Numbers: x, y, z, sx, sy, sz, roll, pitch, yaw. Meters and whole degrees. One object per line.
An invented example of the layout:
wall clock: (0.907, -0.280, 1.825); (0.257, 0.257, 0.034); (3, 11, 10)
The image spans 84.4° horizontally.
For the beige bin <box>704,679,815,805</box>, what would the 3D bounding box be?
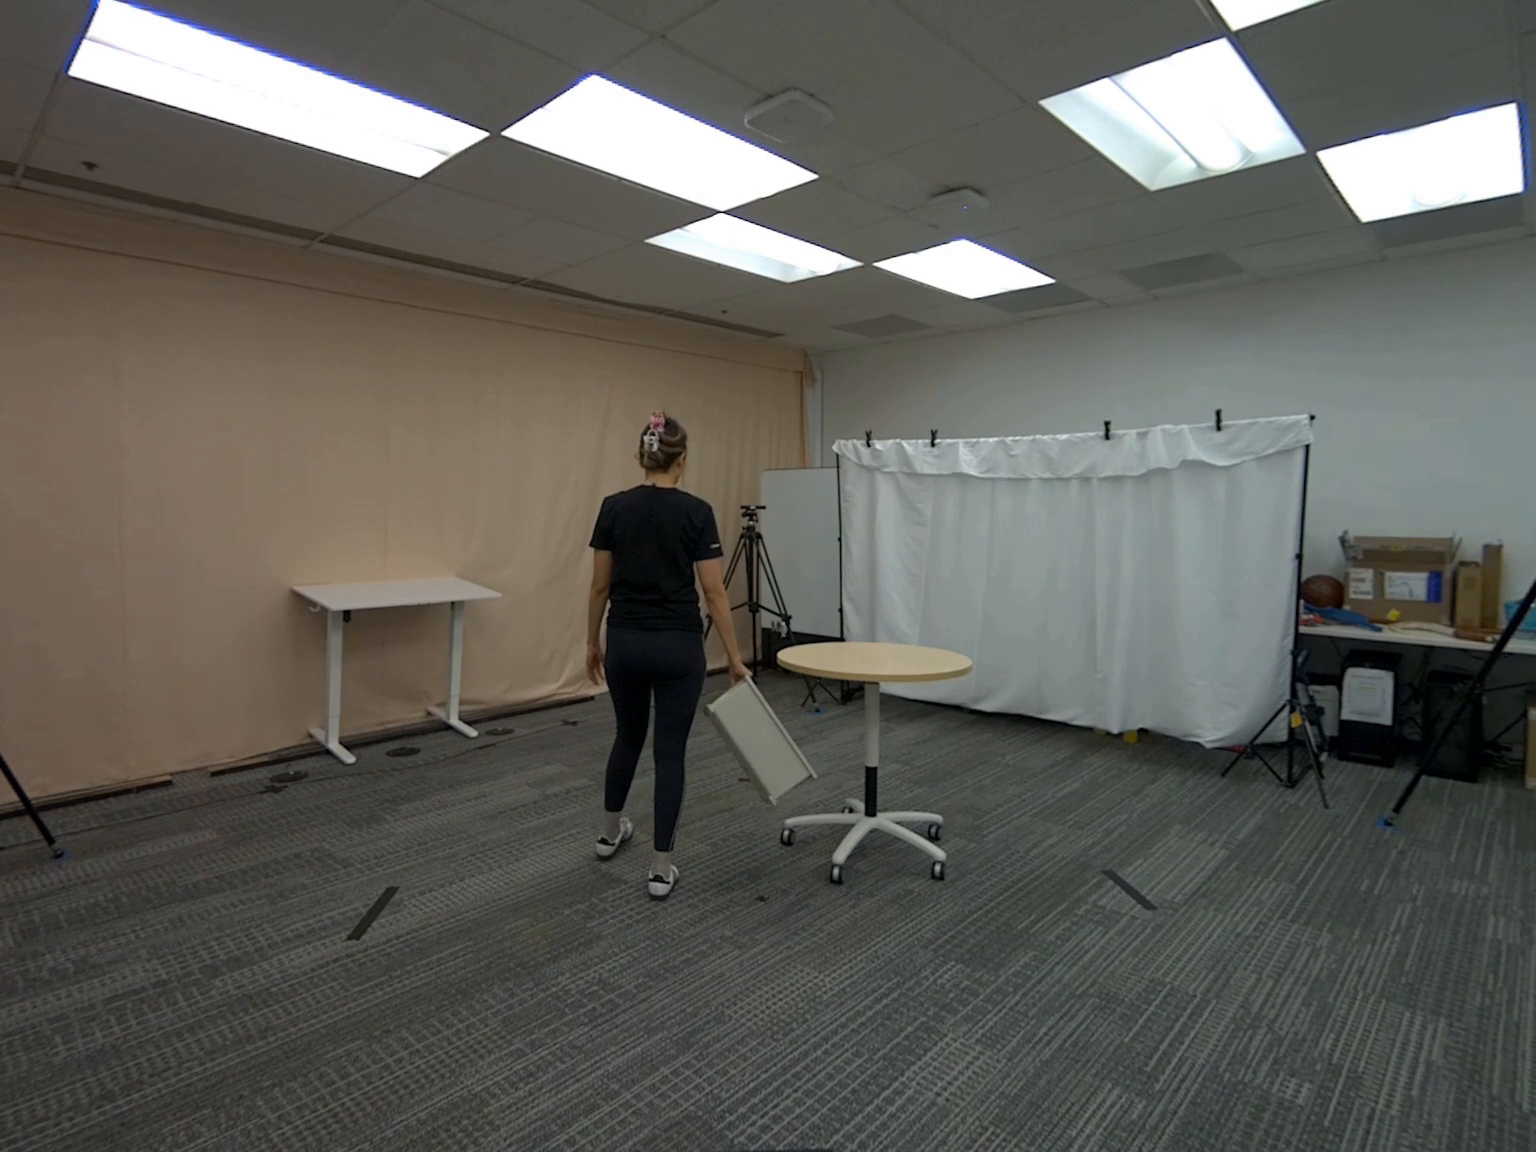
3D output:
beige bin: (-0.037, 0.612, 3.094); (0.188, 0.426, 0.376); (-33, -8, -12)
